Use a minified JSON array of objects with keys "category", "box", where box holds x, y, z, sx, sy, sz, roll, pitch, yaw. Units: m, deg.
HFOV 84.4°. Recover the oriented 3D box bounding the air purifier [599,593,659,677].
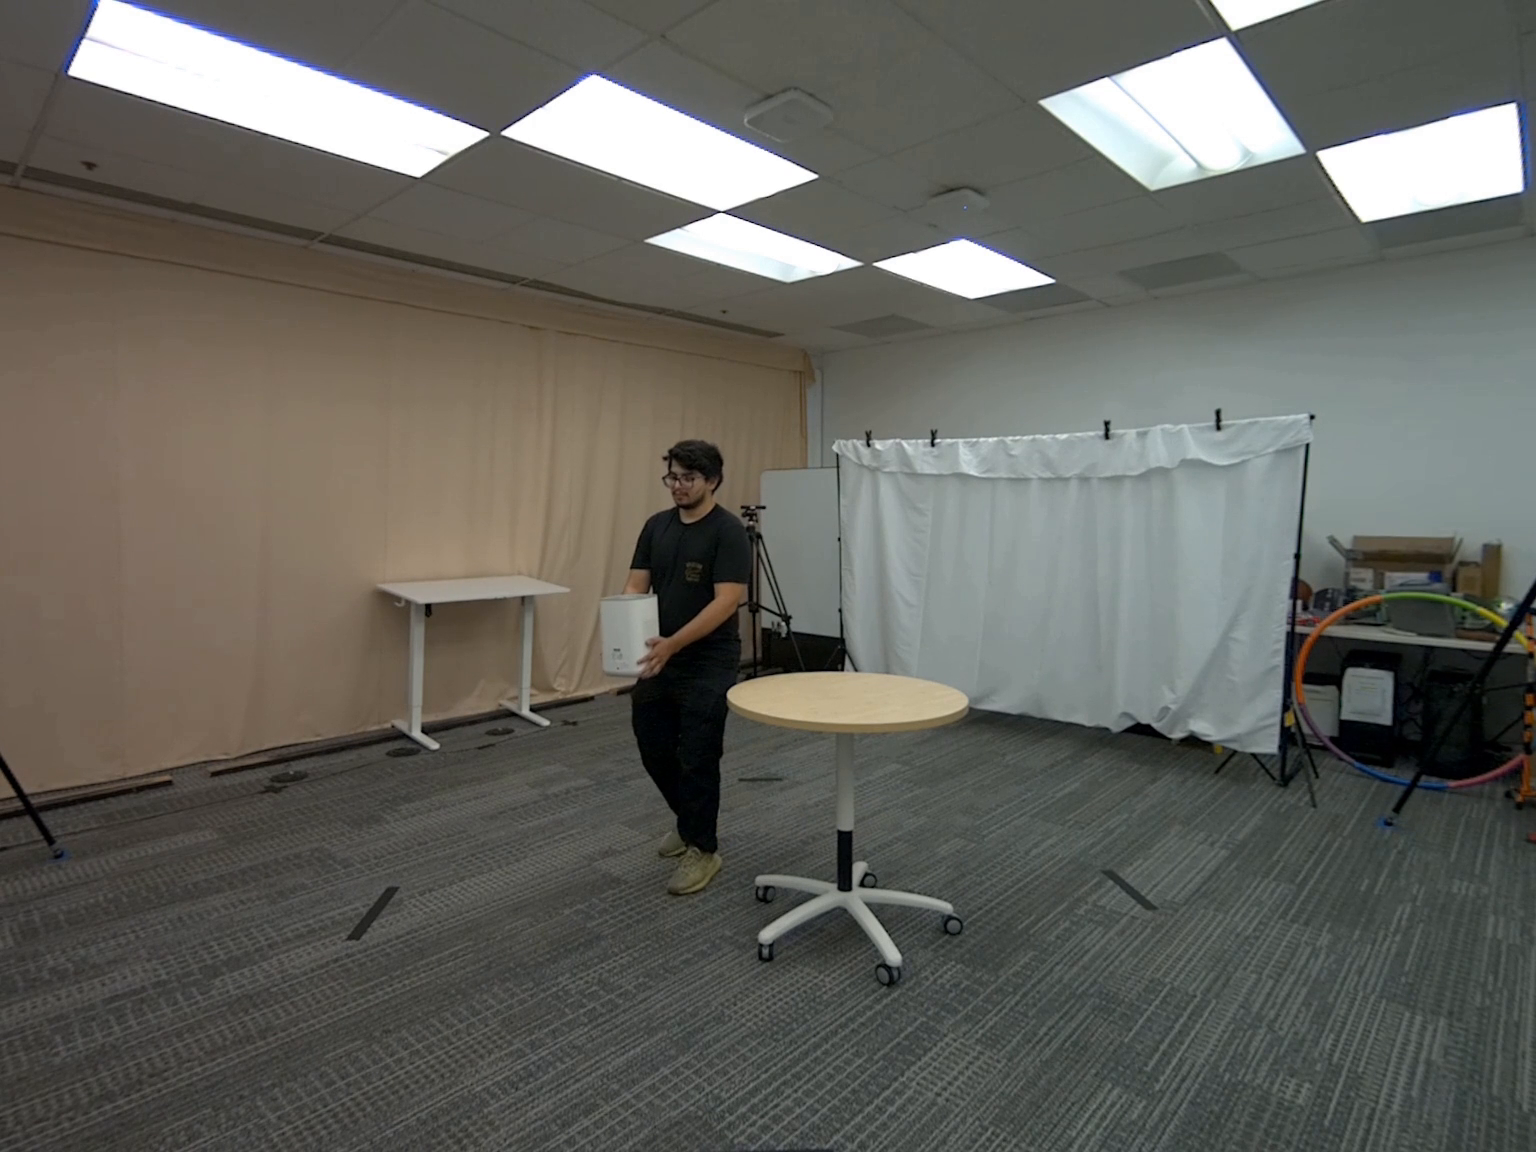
[{"category":"air purifier","box":[-0.468,0.201,2.869,0.175,0.265,0.168,-2,2,24]}]
